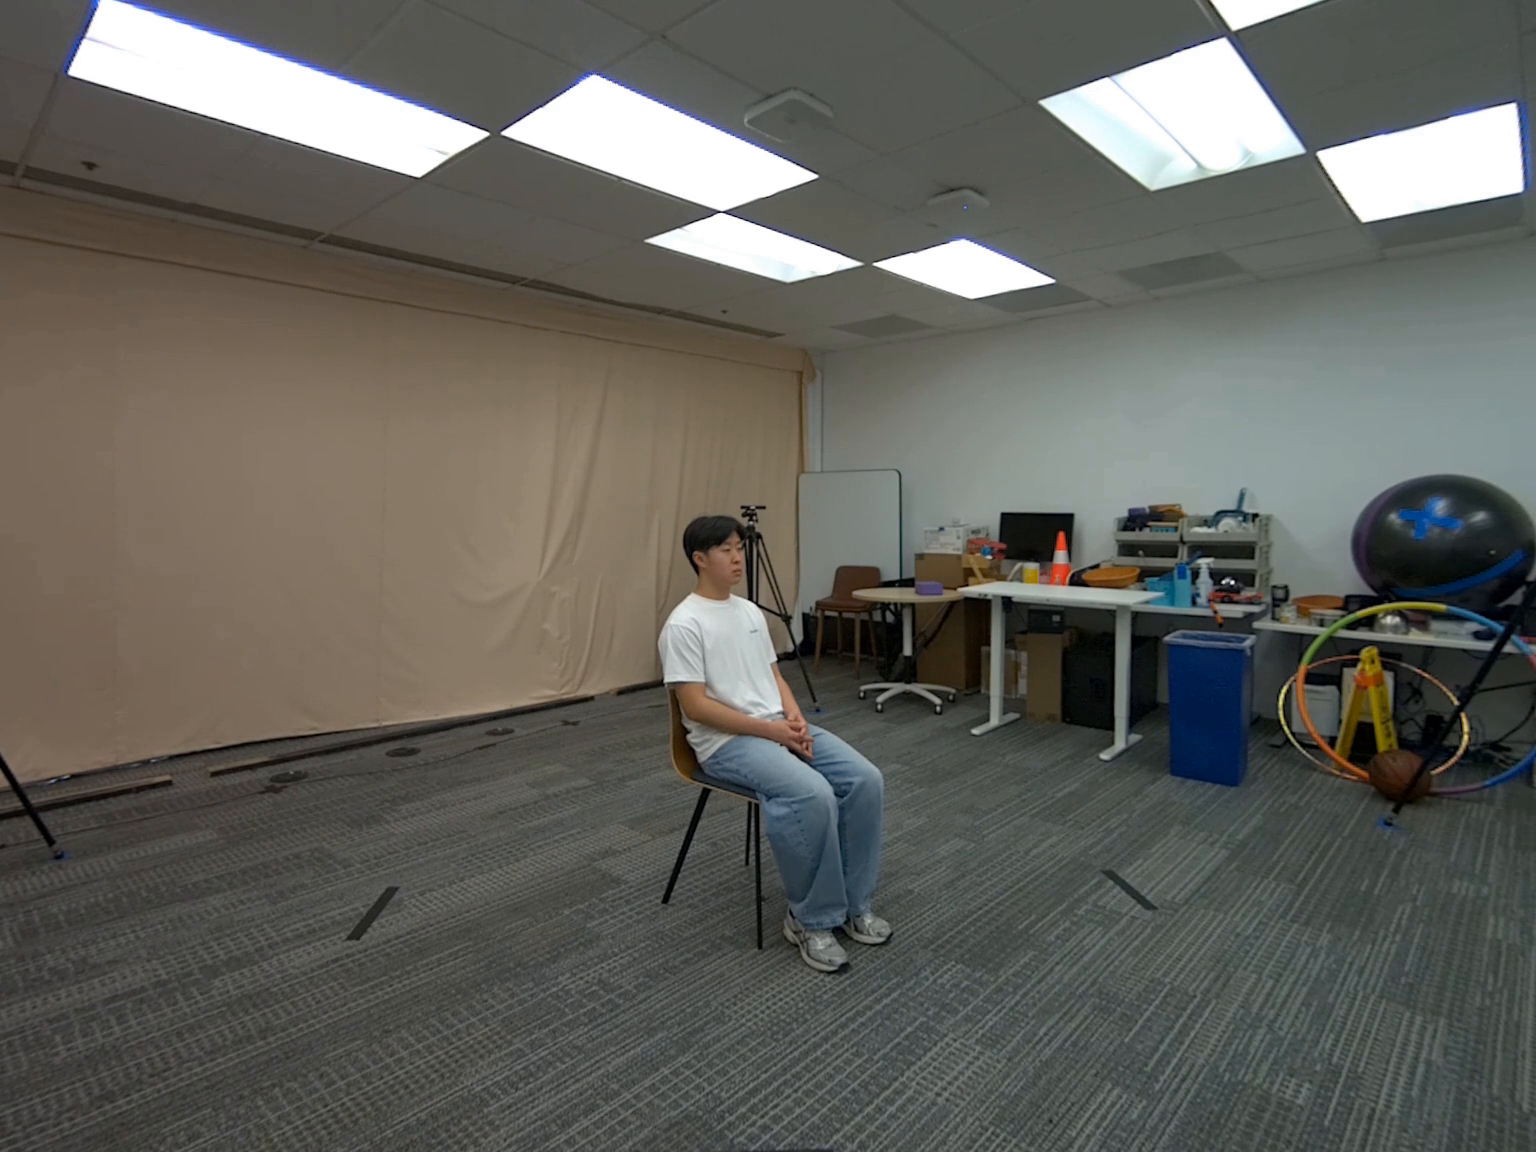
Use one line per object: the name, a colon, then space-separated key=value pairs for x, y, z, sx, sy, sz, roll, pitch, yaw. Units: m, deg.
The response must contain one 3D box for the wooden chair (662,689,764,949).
wooden chair: x=-0.054 y=0.722 z=2.929 sx=0.539 sy=0.877 sz=0.464 roll=-4 pitch=1 yaw=42
